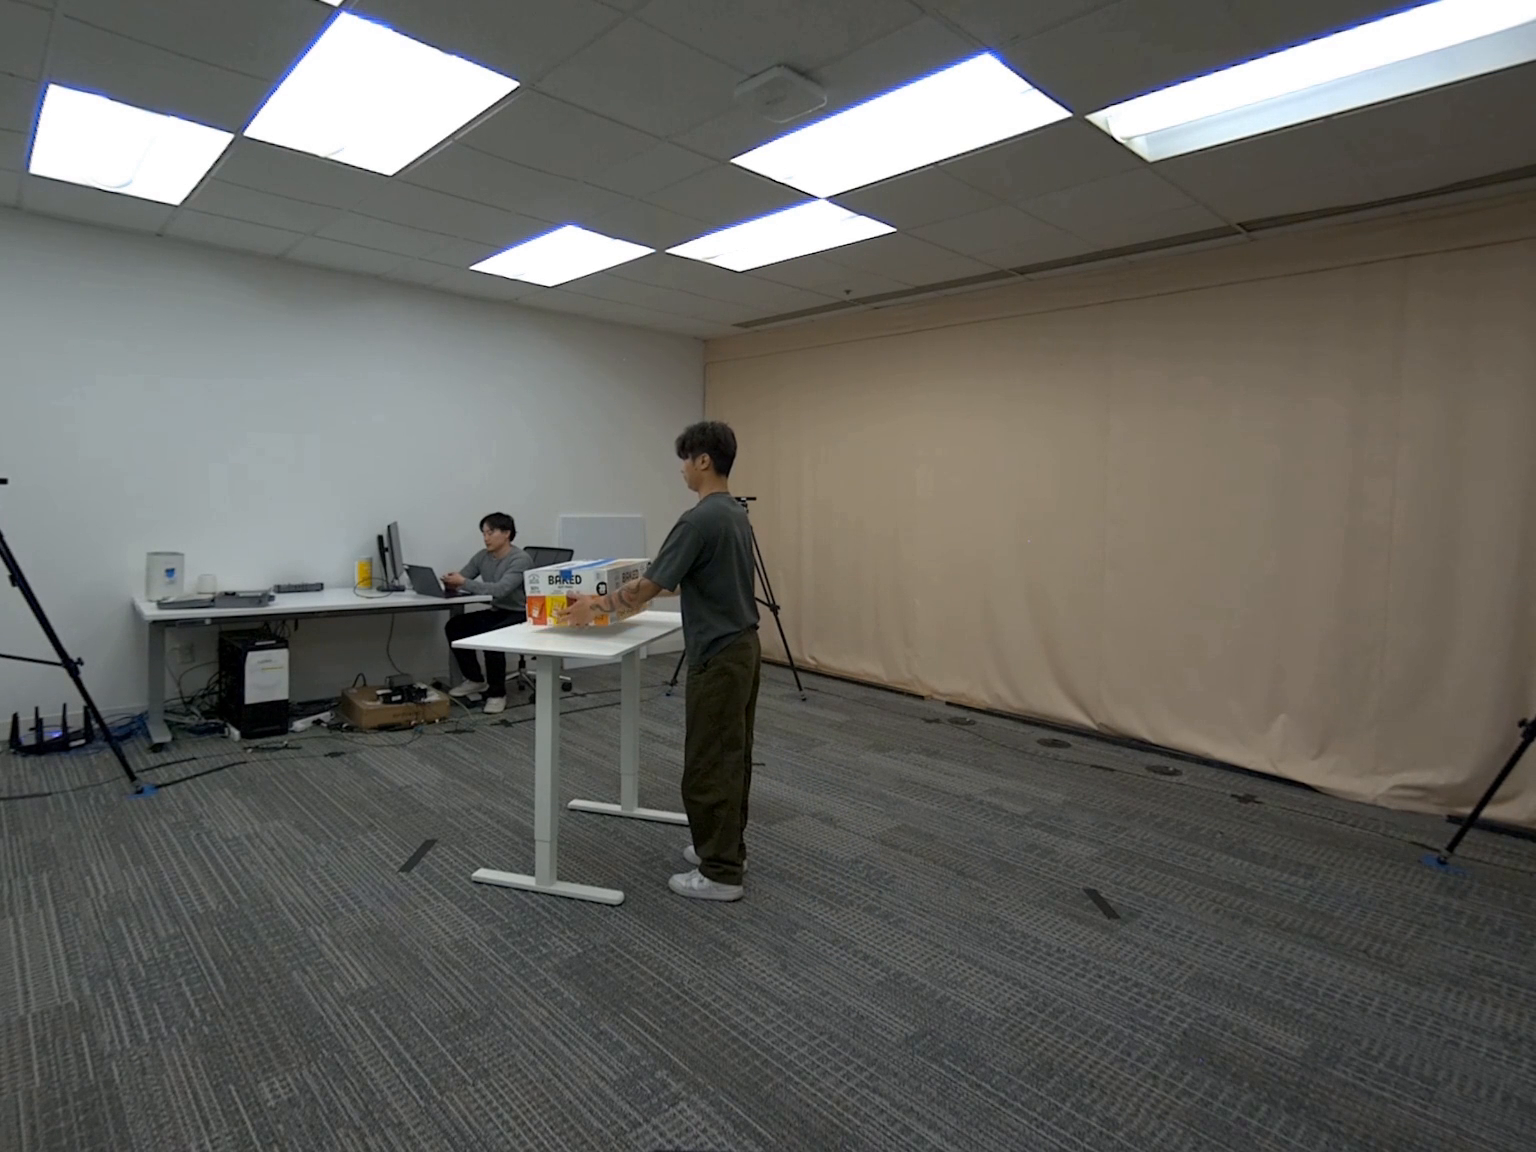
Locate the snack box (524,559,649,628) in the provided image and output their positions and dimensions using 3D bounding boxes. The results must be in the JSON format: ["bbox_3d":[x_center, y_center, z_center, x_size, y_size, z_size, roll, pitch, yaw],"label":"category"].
[{"bbox_3d":[-0.677,0.054,3.237,0.345,0.205,0.401,0,6,17],"label":"snack box"}]
